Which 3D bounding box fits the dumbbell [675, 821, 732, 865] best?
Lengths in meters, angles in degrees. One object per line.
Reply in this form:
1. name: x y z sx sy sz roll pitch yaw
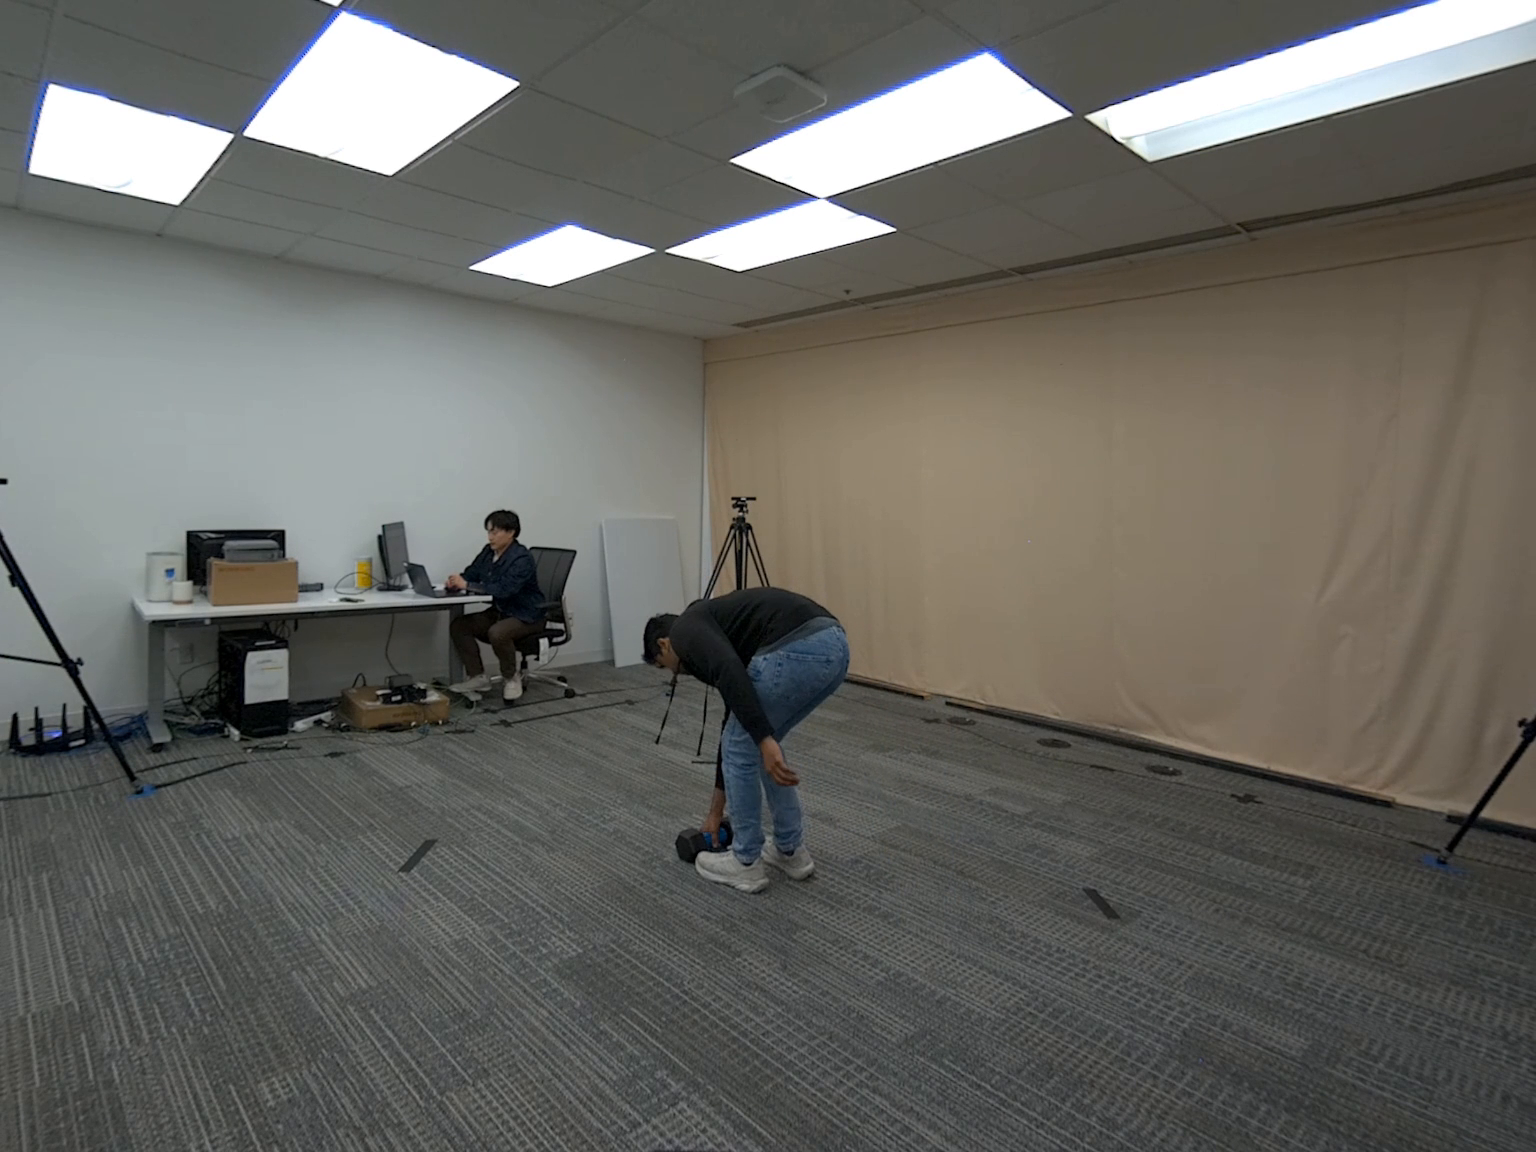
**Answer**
1. dumbbell: -0.229 1.031 3.313 0.287 0.122 0.112 -4 37 -43
